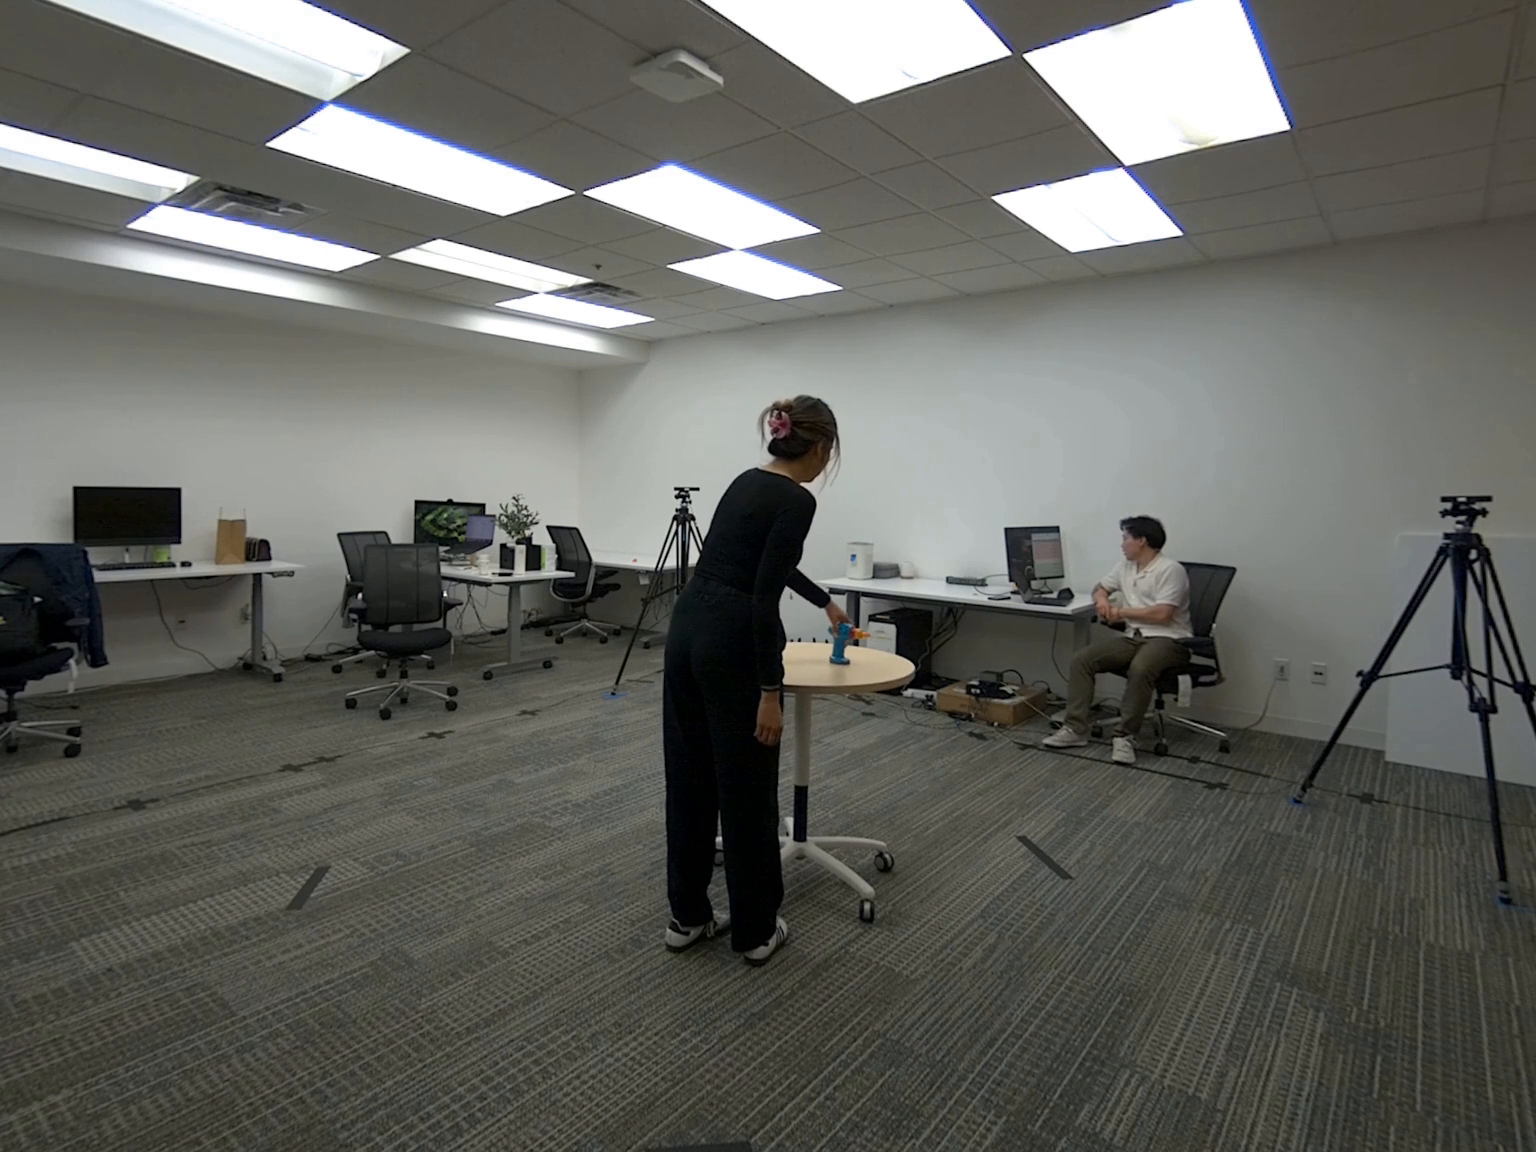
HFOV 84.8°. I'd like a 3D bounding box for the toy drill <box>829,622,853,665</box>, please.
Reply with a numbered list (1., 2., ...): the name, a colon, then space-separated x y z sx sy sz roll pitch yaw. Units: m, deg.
1. toy drill: 0.277 0.234 2.957 0.175 0.145 0.059 4 7 34
